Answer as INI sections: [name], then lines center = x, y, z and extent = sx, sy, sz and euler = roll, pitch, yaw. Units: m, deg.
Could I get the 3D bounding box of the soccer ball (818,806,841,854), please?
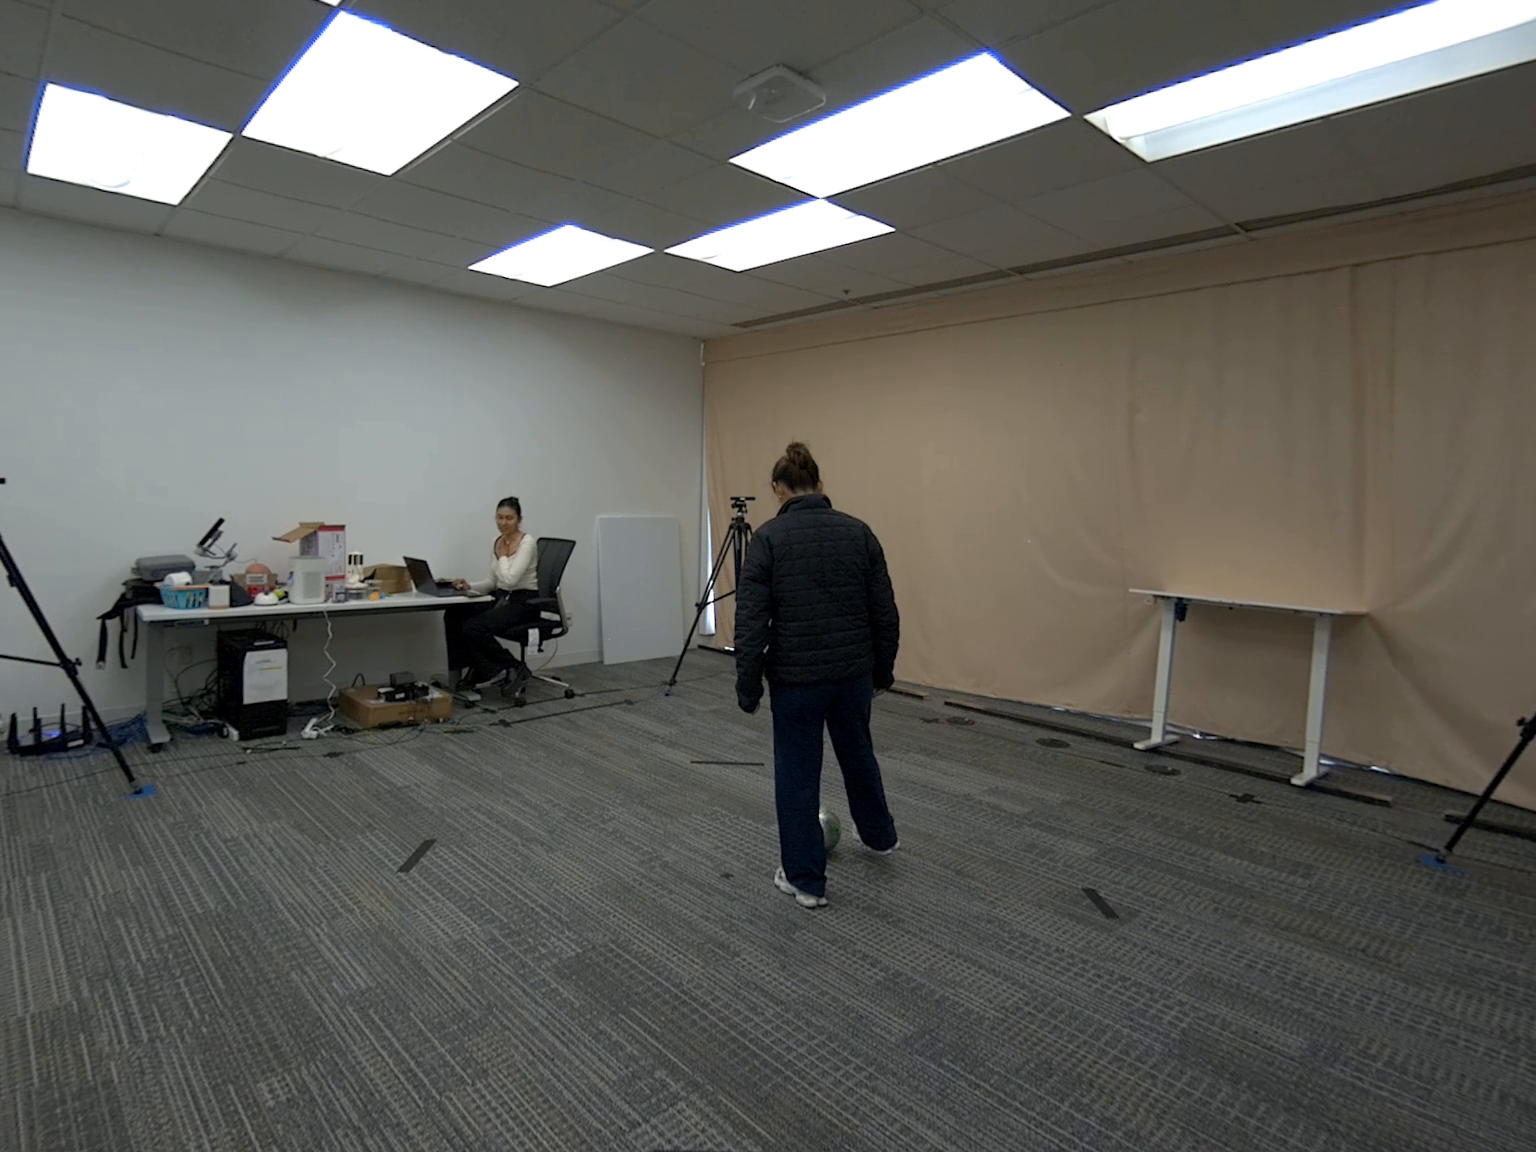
[soccer ball]
center = 0.189, 0.997, 3.330
extent = 0.187, 0.187, 0.188
euler = 1, 4, -1
